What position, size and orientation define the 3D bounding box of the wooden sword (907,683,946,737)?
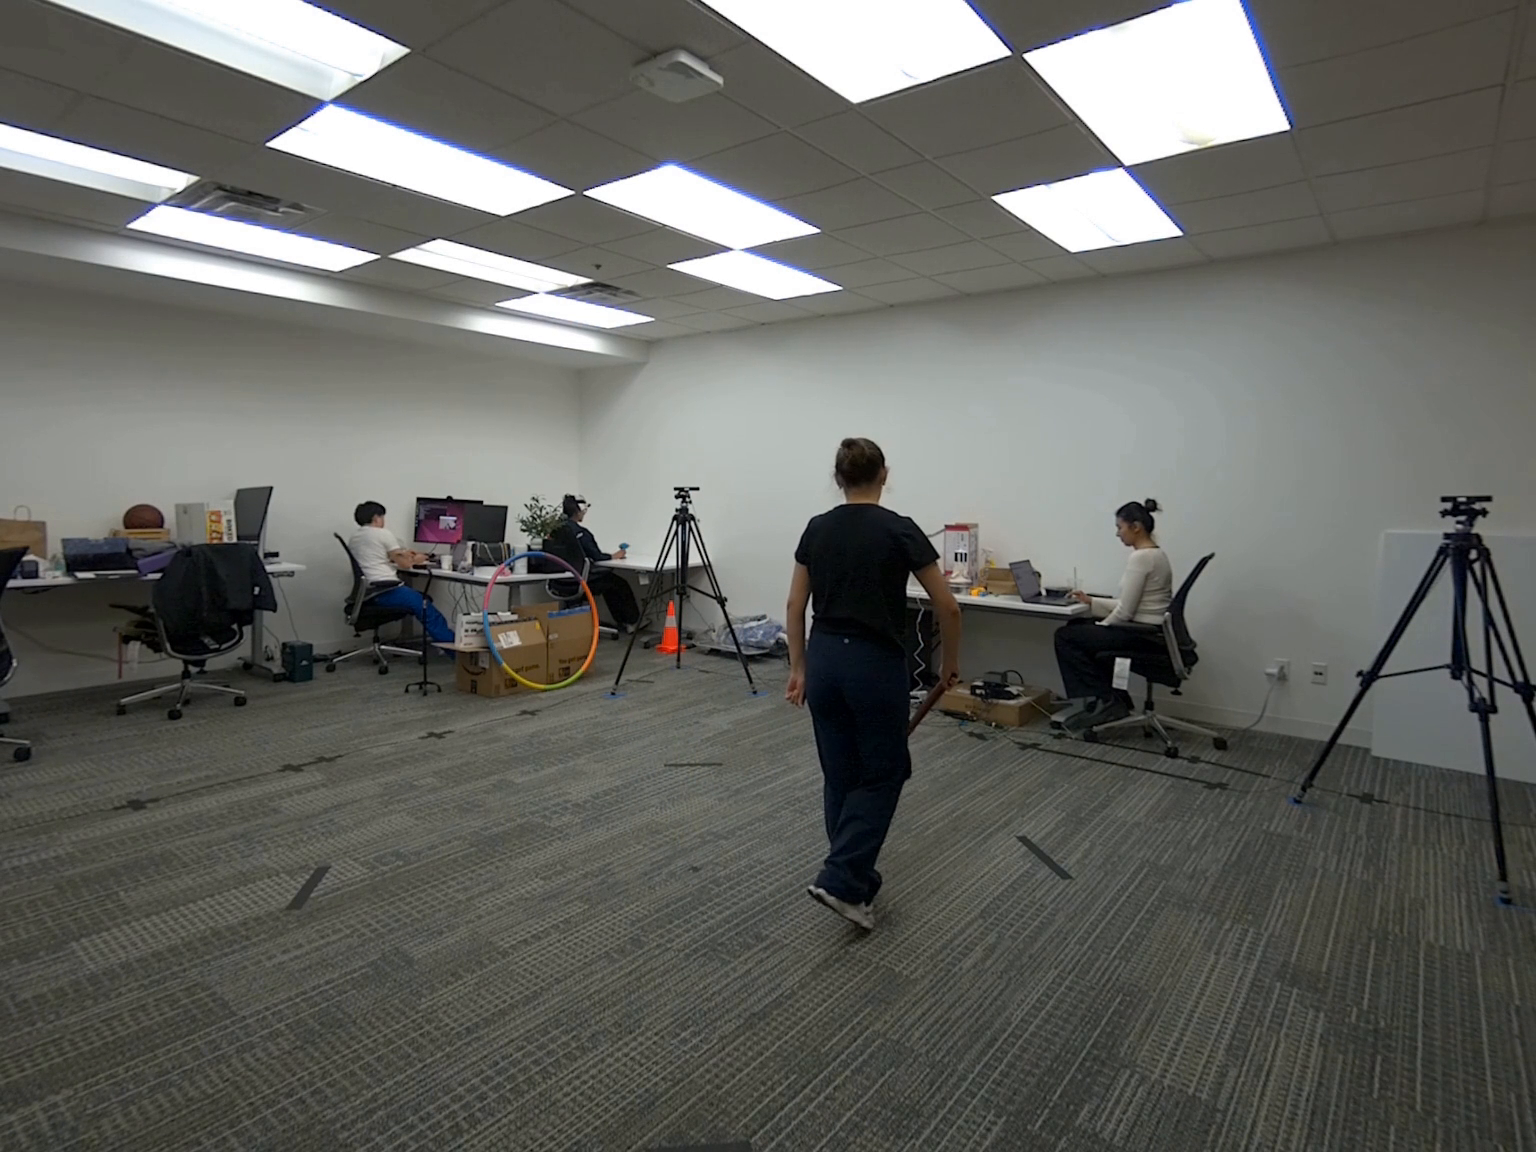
[{"bbox_3d":[0.476,0.660,3.181,0.023,1.010,0.053,-12,52,-34],"label":"wooden sword"}]
